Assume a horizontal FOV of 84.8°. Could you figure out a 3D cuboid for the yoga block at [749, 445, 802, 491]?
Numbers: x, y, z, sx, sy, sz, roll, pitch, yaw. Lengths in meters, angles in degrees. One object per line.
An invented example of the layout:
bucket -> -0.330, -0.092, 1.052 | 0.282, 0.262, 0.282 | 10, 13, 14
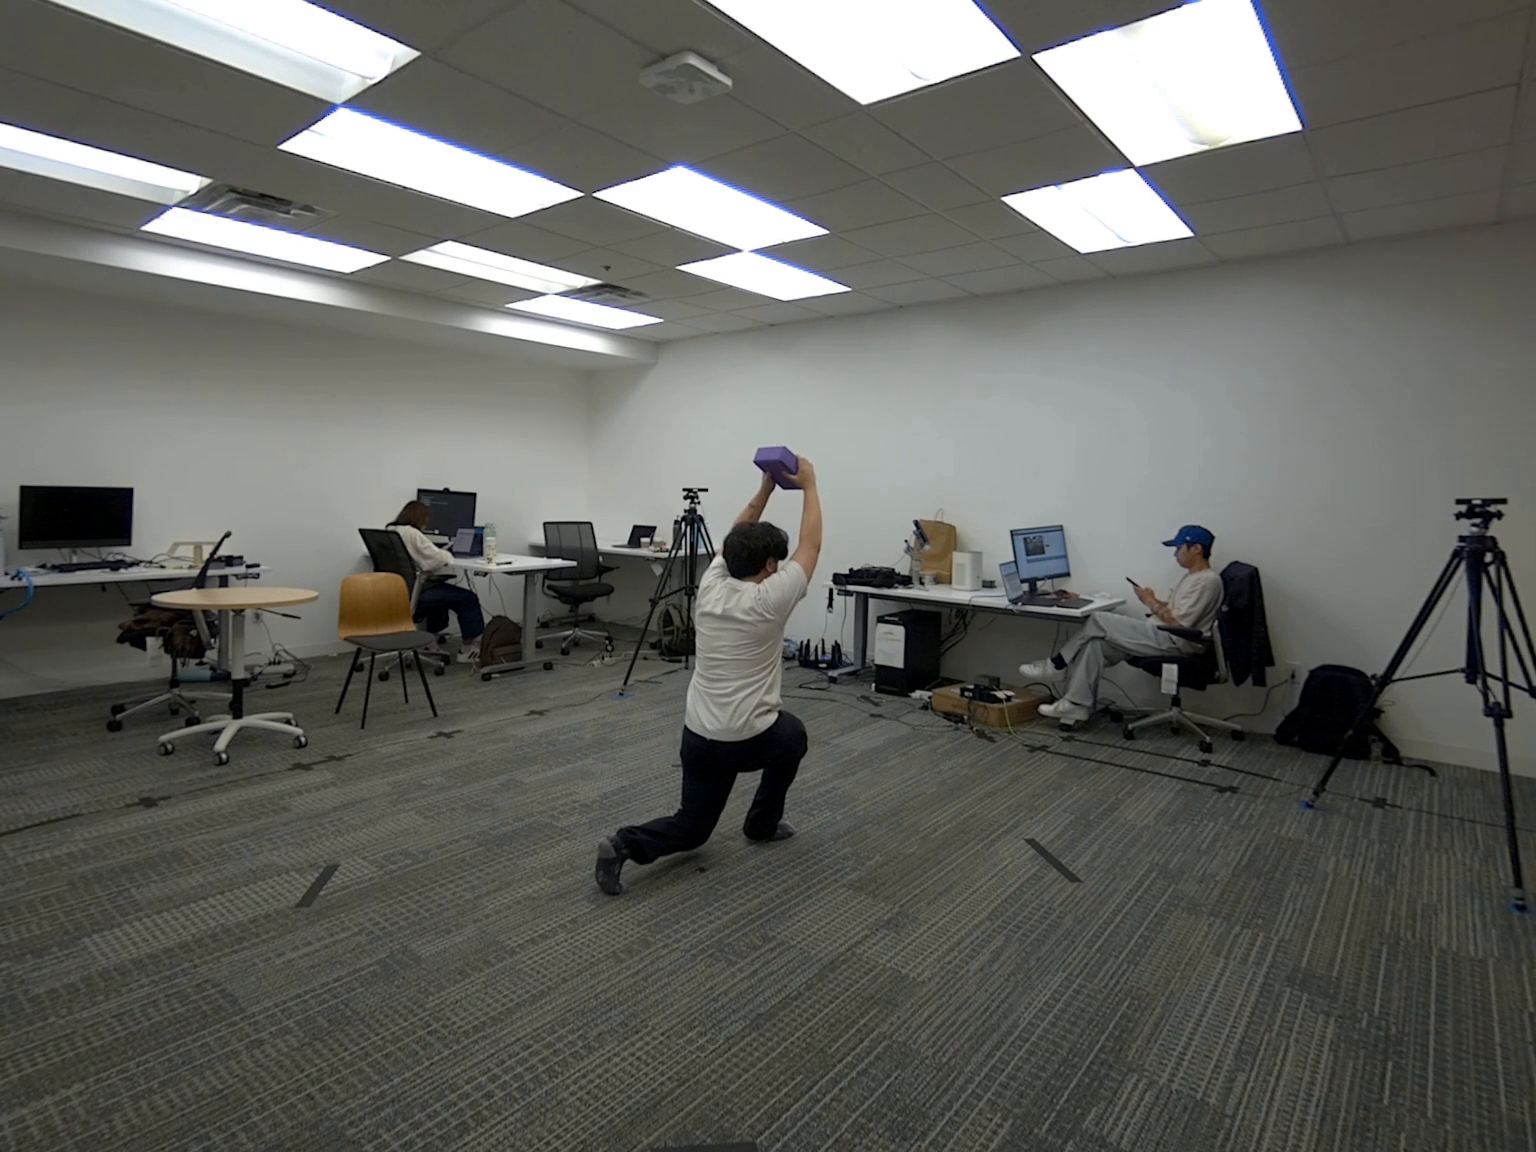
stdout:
yoga block -> 0.056, -0.438, 3.419 | 0.154, 0.077, 0.220 | 3, -24, 43
